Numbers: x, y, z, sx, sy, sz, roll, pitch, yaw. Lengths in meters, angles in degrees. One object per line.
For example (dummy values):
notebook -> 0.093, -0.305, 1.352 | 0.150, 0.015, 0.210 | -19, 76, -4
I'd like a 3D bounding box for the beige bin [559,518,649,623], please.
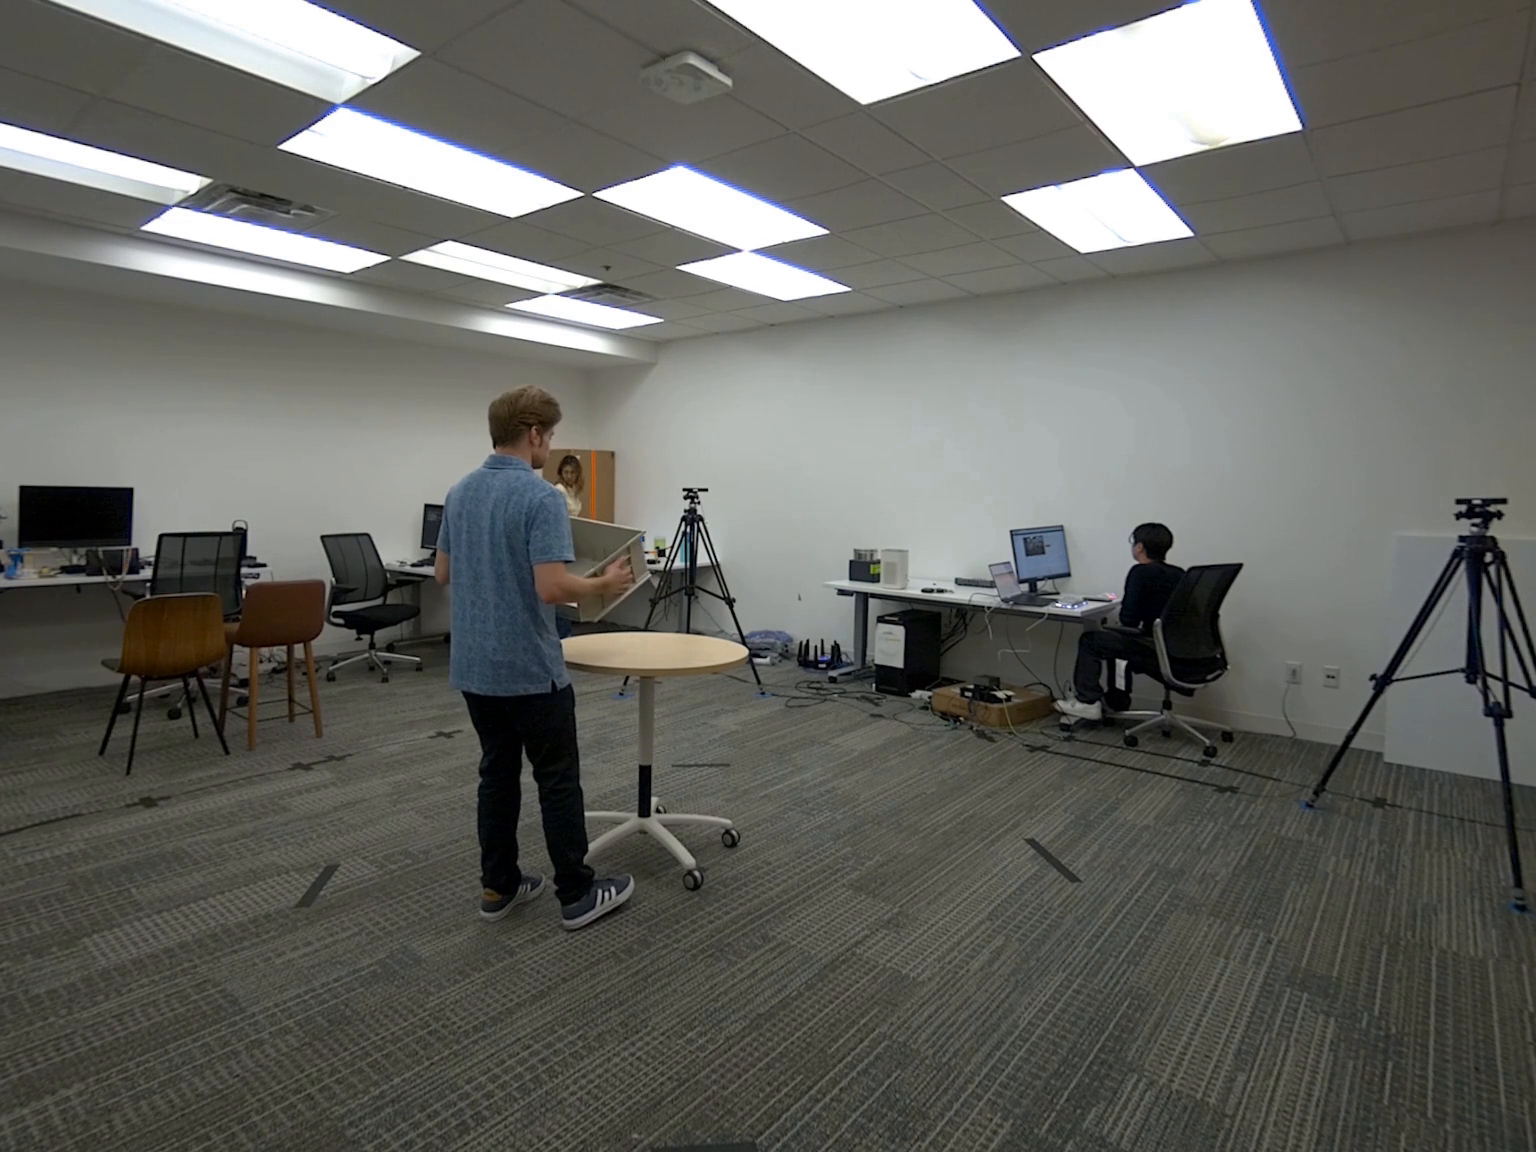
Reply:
beige bin -> -0.693, -0.025, 2.959 | 0.436, 0.184, 0.375 | 10, 34, 32
